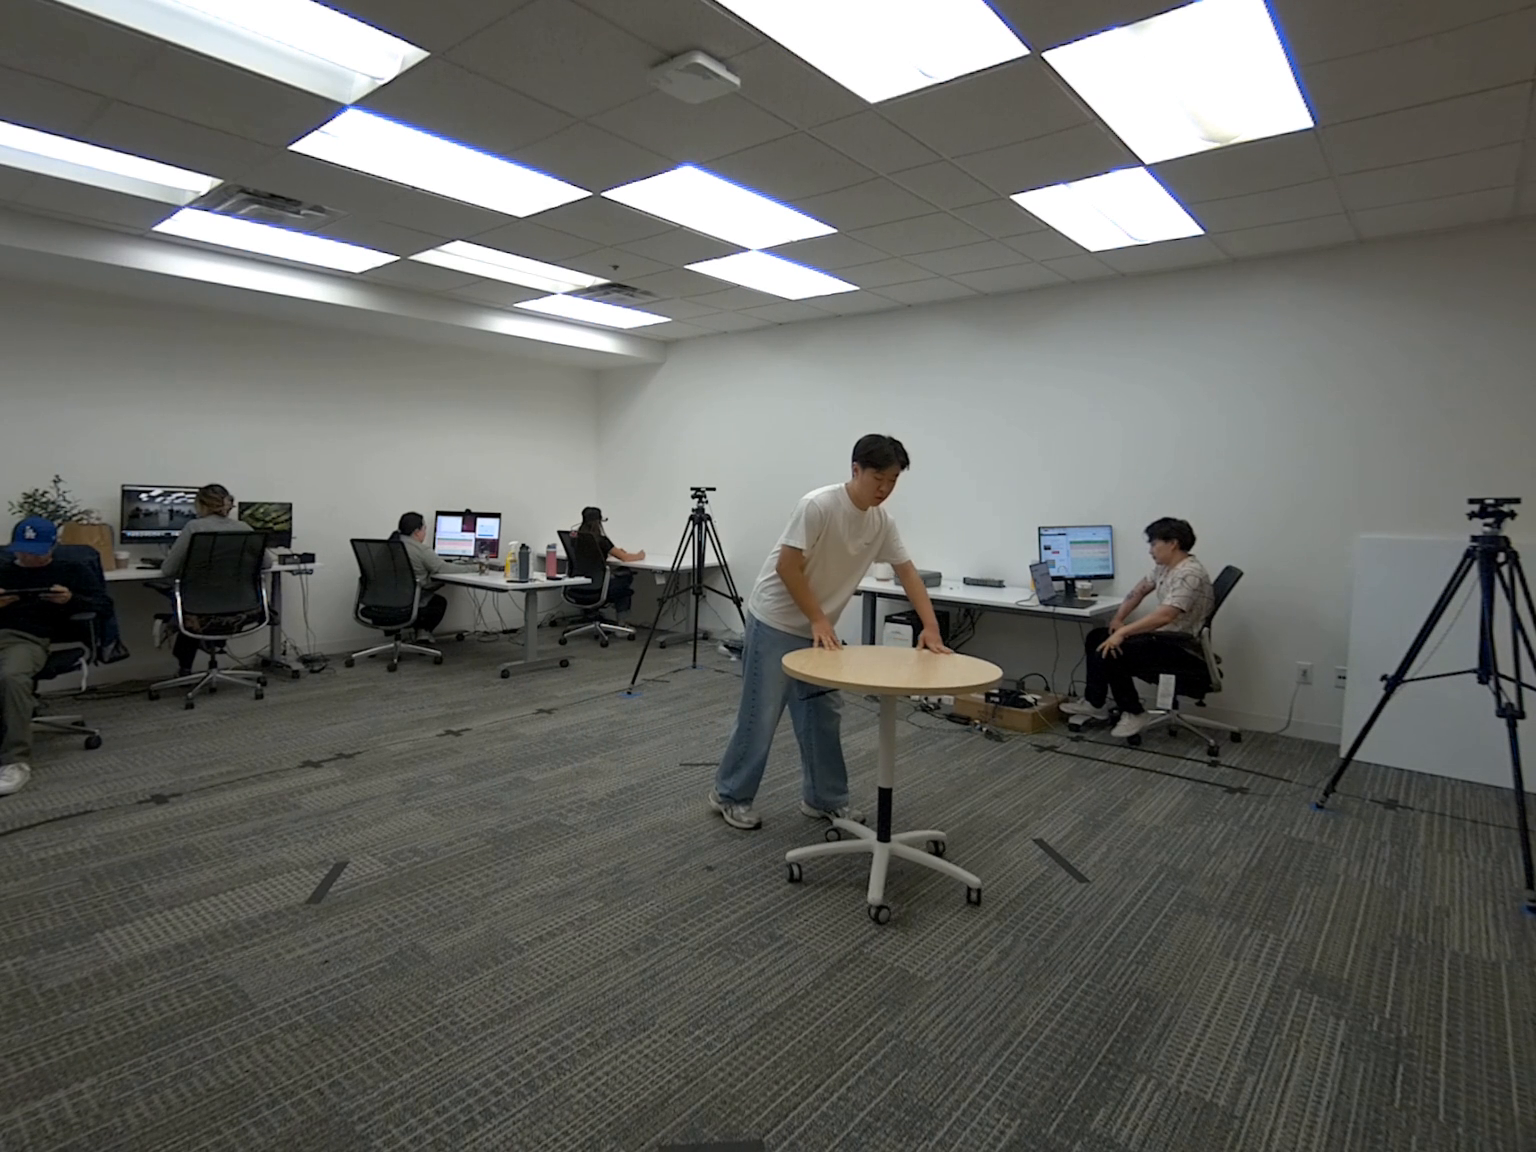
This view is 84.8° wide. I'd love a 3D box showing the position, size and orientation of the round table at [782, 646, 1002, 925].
[{"bbox_3d":[0.403,0.701,3.045,0.763,0.792,0.767,1,4,-2],"label":"round table"}]
